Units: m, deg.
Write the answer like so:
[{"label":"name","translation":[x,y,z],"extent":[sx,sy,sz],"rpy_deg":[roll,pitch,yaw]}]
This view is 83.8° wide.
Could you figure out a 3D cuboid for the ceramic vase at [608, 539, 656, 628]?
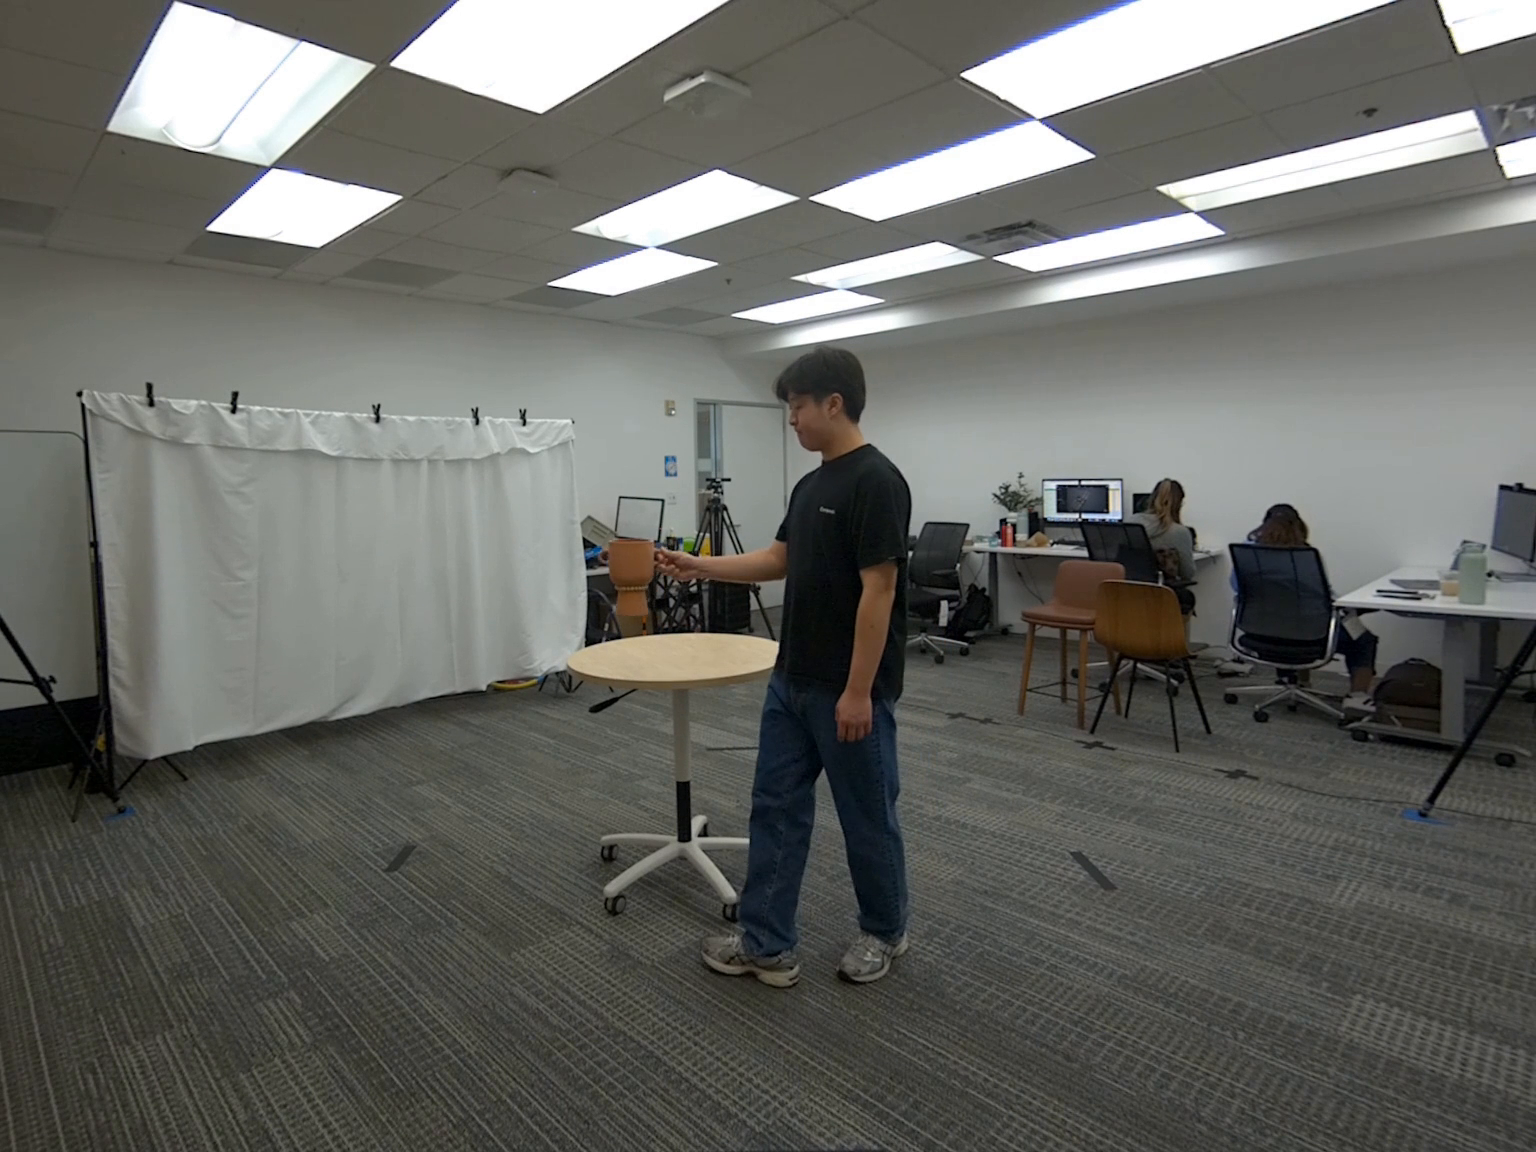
[{"label":"ceramic vase","translation":[-0.399,0.004,2.518],"extent":[0.155,0.219,0.138],"rpy_deg":[-3,3,-32]}]
